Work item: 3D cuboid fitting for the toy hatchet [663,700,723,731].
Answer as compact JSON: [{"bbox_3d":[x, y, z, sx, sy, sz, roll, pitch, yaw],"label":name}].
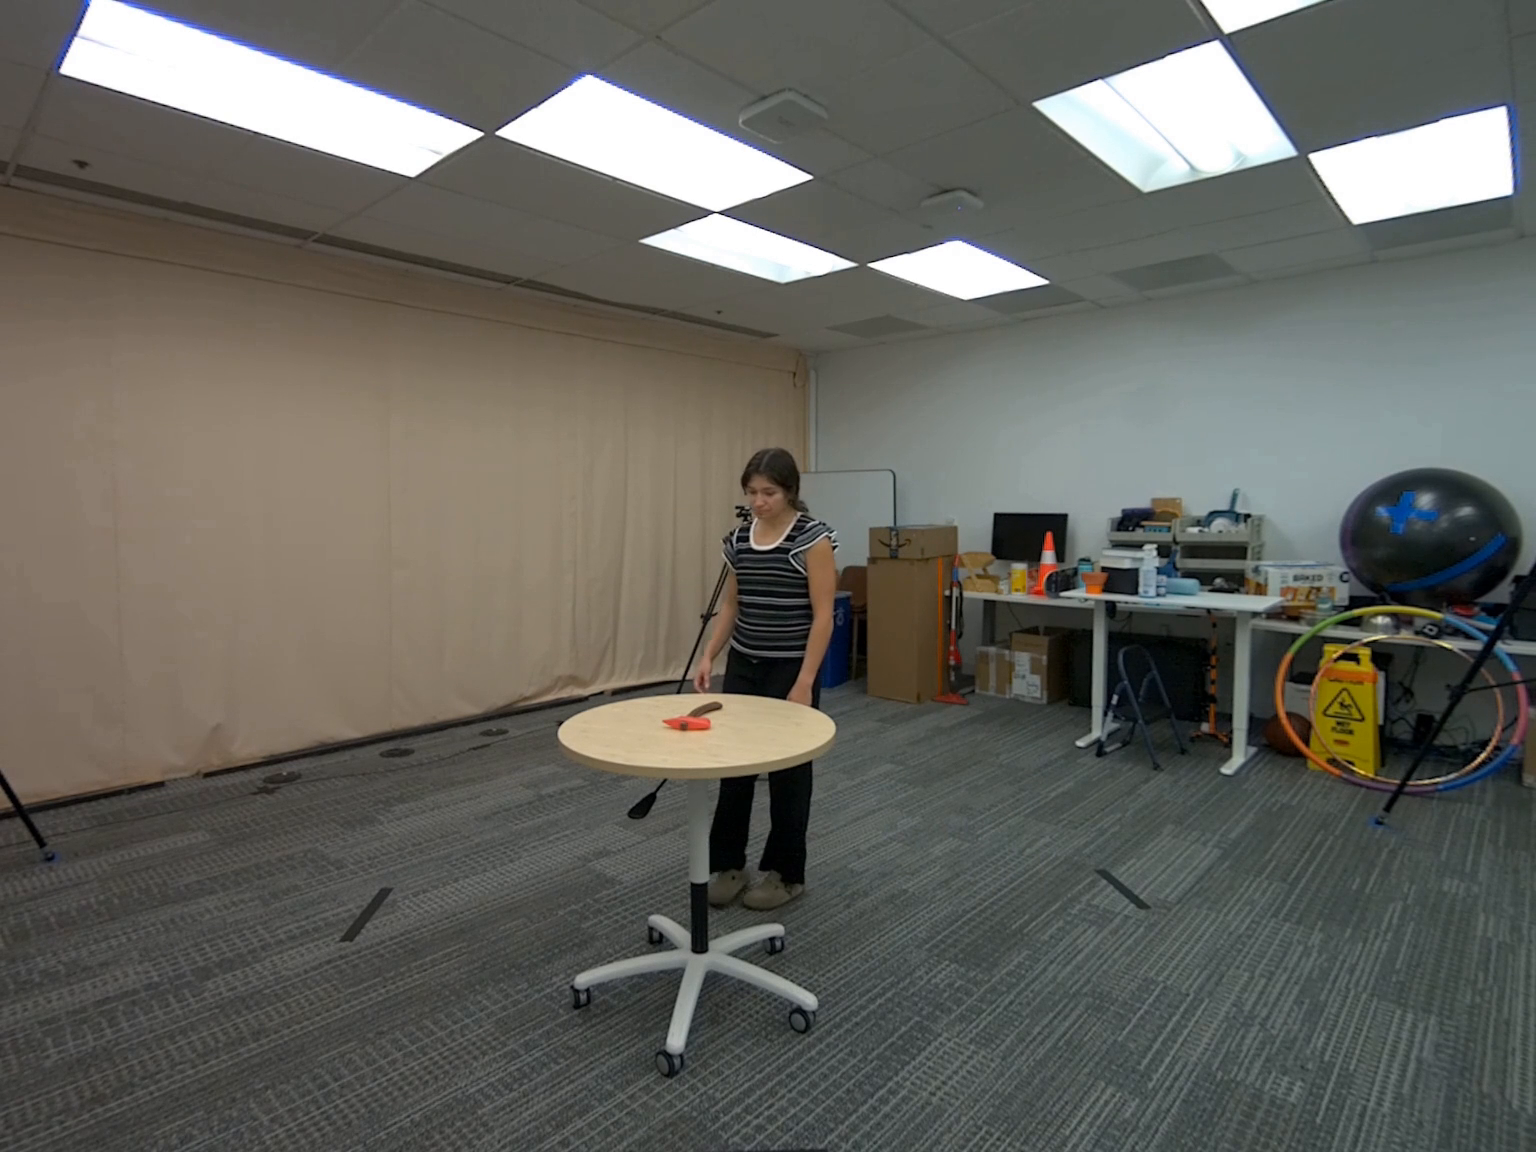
[{"bbox_3d":[-0.178,0.396,2.399,0.135,0.029,0.263,2,4,29],"label":"toy hatchet"}]
